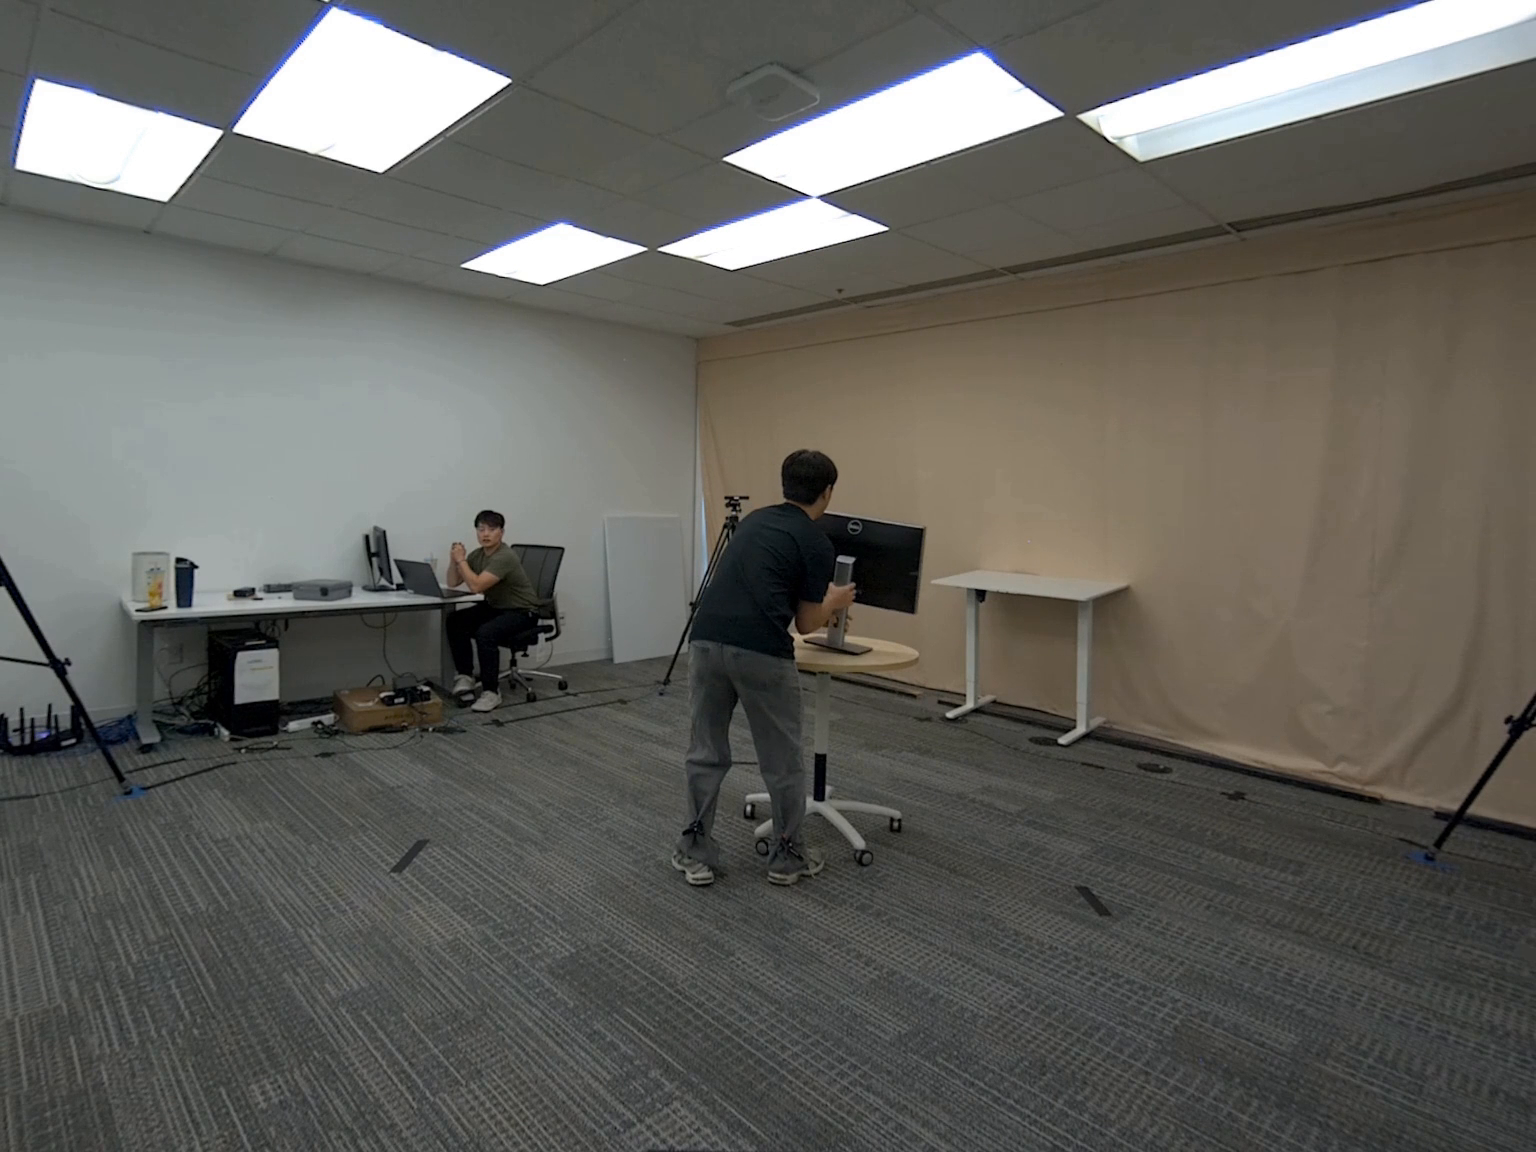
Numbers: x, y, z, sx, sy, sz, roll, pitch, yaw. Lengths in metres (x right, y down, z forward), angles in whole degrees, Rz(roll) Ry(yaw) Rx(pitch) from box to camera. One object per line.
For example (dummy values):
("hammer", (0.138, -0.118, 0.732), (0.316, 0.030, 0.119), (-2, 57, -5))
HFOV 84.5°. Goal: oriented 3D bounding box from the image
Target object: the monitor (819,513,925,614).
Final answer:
("monitor", (0.316, 0.028, 3.441), (0.575, 0.565, 0.217), (12, 3, 28))
